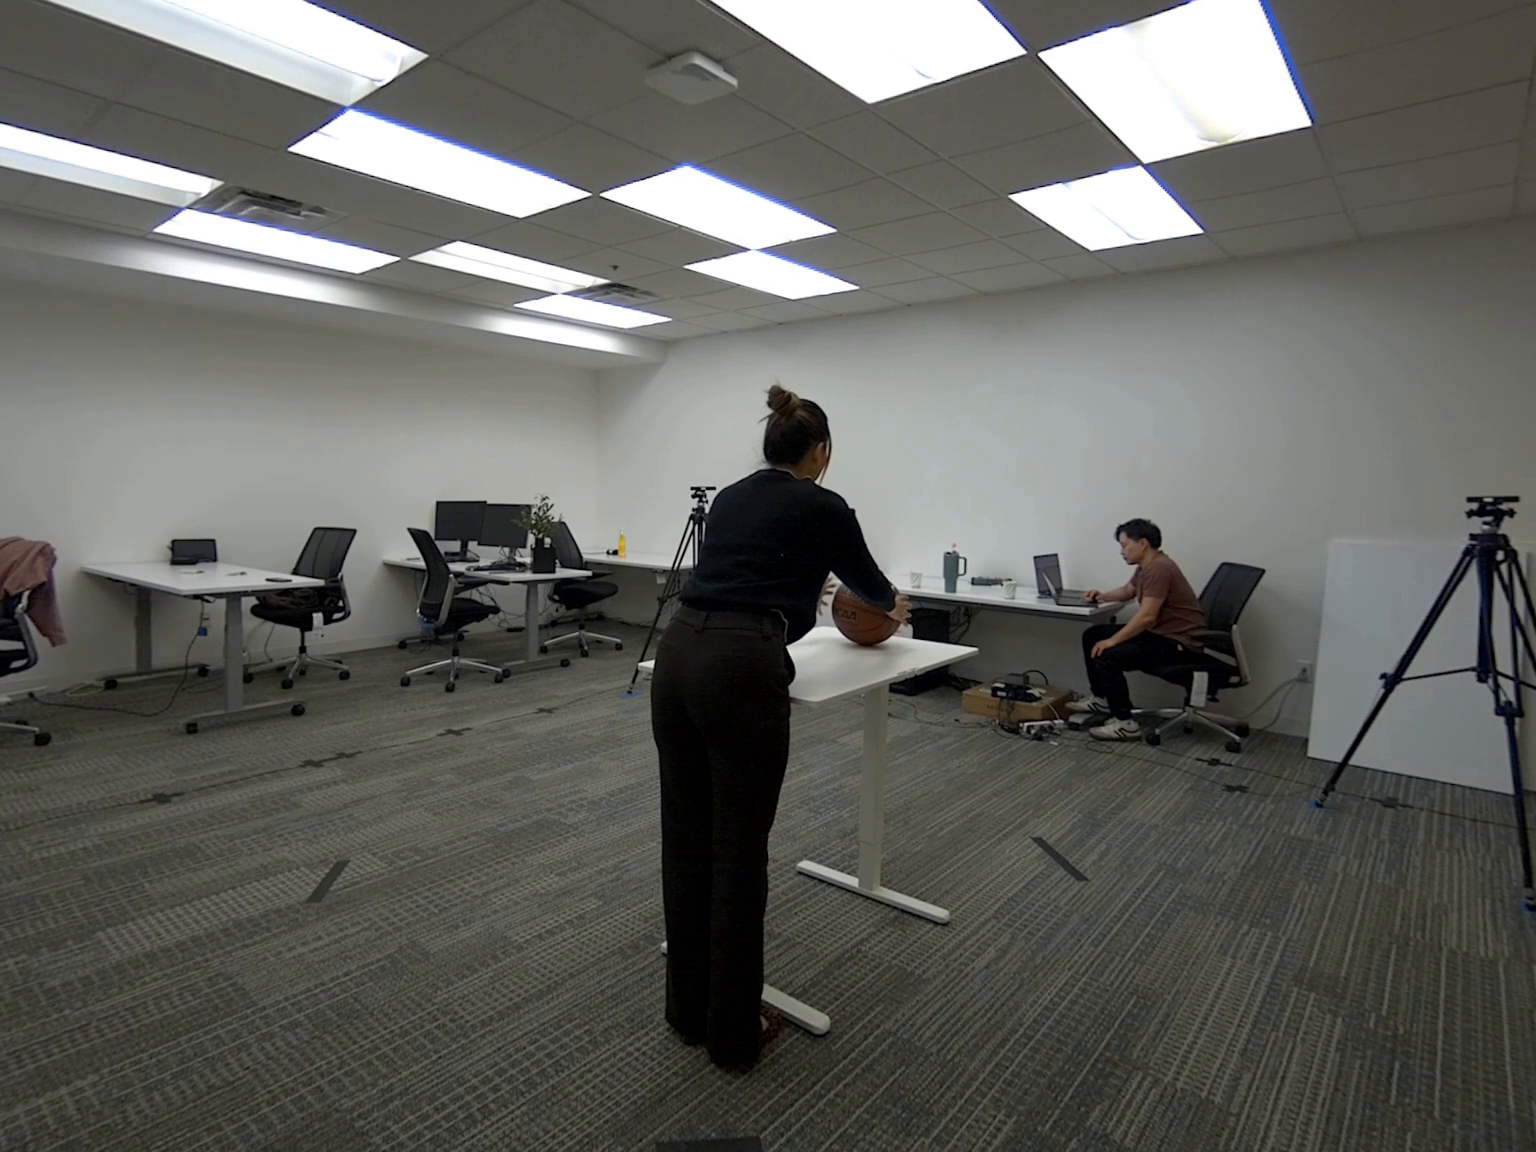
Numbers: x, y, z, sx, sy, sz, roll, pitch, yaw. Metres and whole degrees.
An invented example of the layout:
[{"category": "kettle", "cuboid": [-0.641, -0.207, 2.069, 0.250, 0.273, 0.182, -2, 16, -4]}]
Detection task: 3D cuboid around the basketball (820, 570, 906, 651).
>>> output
[{"category": "basketball", "cuboid": [0.311, 0.106, 2.815, 0.235, 0.235, 0.237, 1, 4, -2]}]
